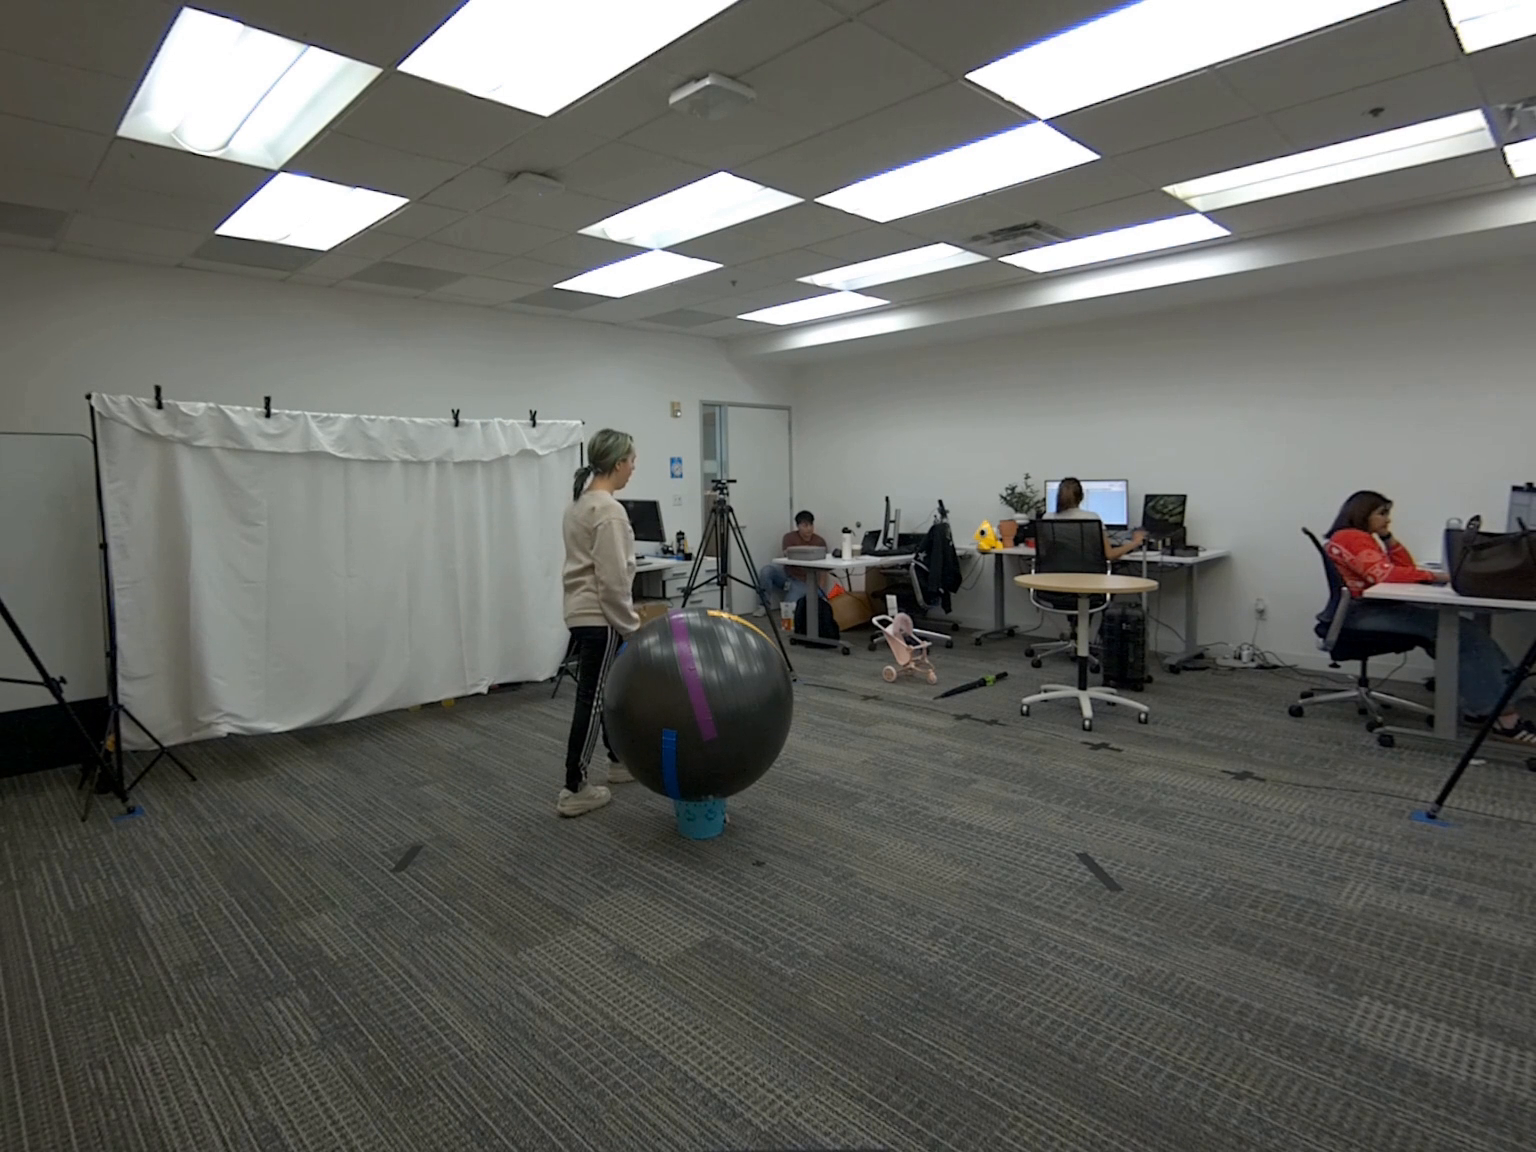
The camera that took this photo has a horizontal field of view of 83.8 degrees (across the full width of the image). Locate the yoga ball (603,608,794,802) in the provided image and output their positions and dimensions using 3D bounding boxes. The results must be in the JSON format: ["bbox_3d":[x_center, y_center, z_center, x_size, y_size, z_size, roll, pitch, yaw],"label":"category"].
[{"bbox_3d":[-0.275,0.508,3.399,0.757,0.755,0.762,-1,5,-2],"label":"yoga ball"}]
